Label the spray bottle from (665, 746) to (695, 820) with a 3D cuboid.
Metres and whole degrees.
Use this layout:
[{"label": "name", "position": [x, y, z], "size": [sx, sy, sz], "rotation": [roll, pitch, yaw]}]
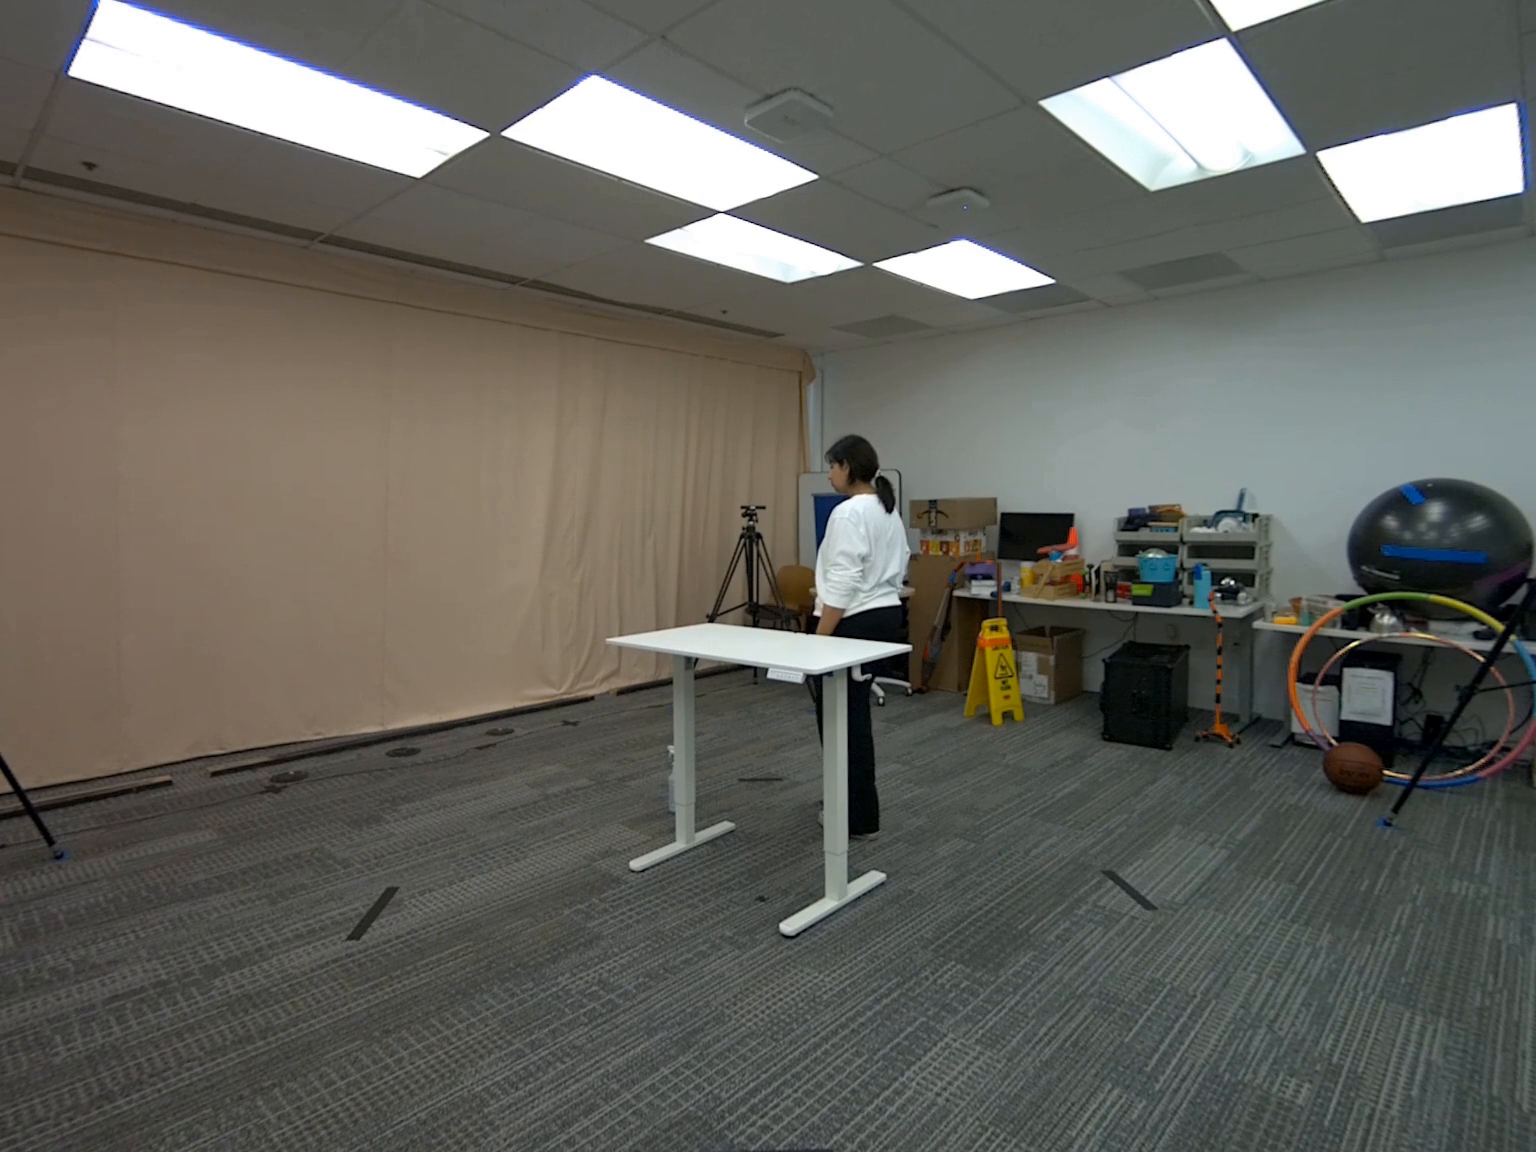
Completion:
[{"label": "spray bottle", "position": [-0.403, 0.936, 3.849], "size": [0.084, 0.297, 0.093], "rotation": [-3, 1, -34]}]
